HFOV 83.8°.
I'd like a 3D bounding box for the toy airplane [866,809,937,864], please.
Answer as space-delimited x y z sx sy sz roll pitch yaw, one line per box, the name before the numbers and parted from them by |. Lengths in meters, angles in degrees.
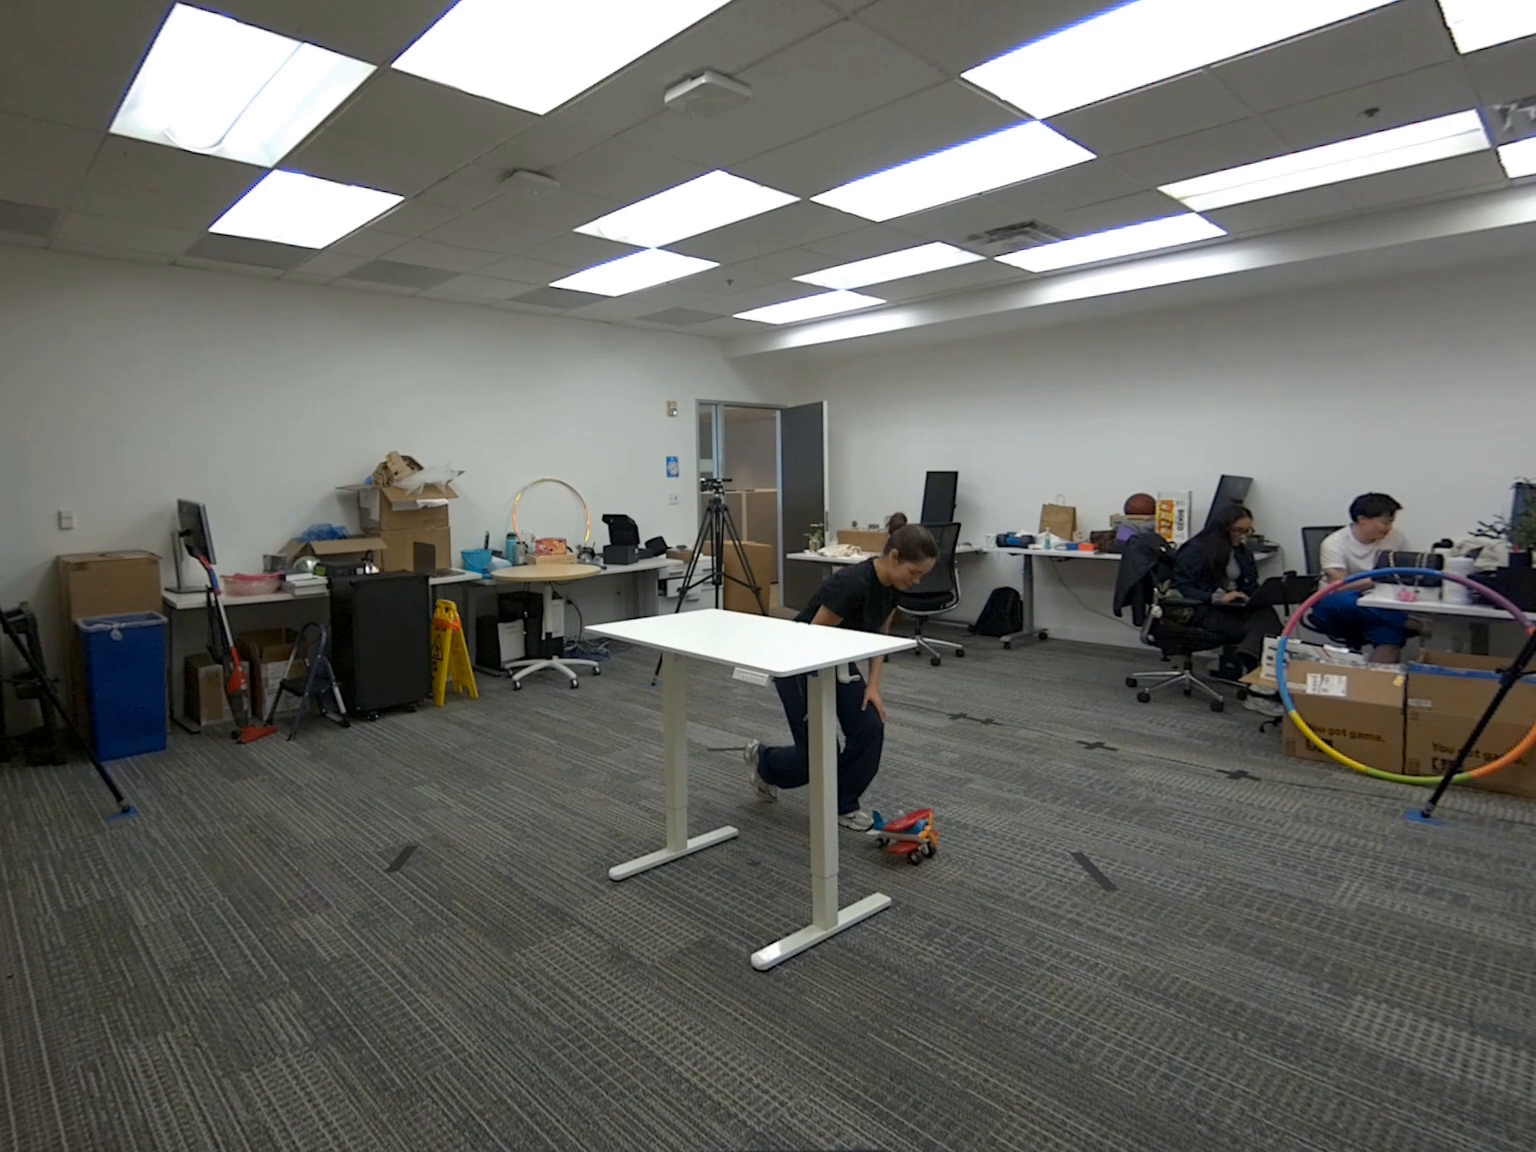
toy airplane | 0.484 0.951 3.165 0.264 0.155 0.248 2 7 17
